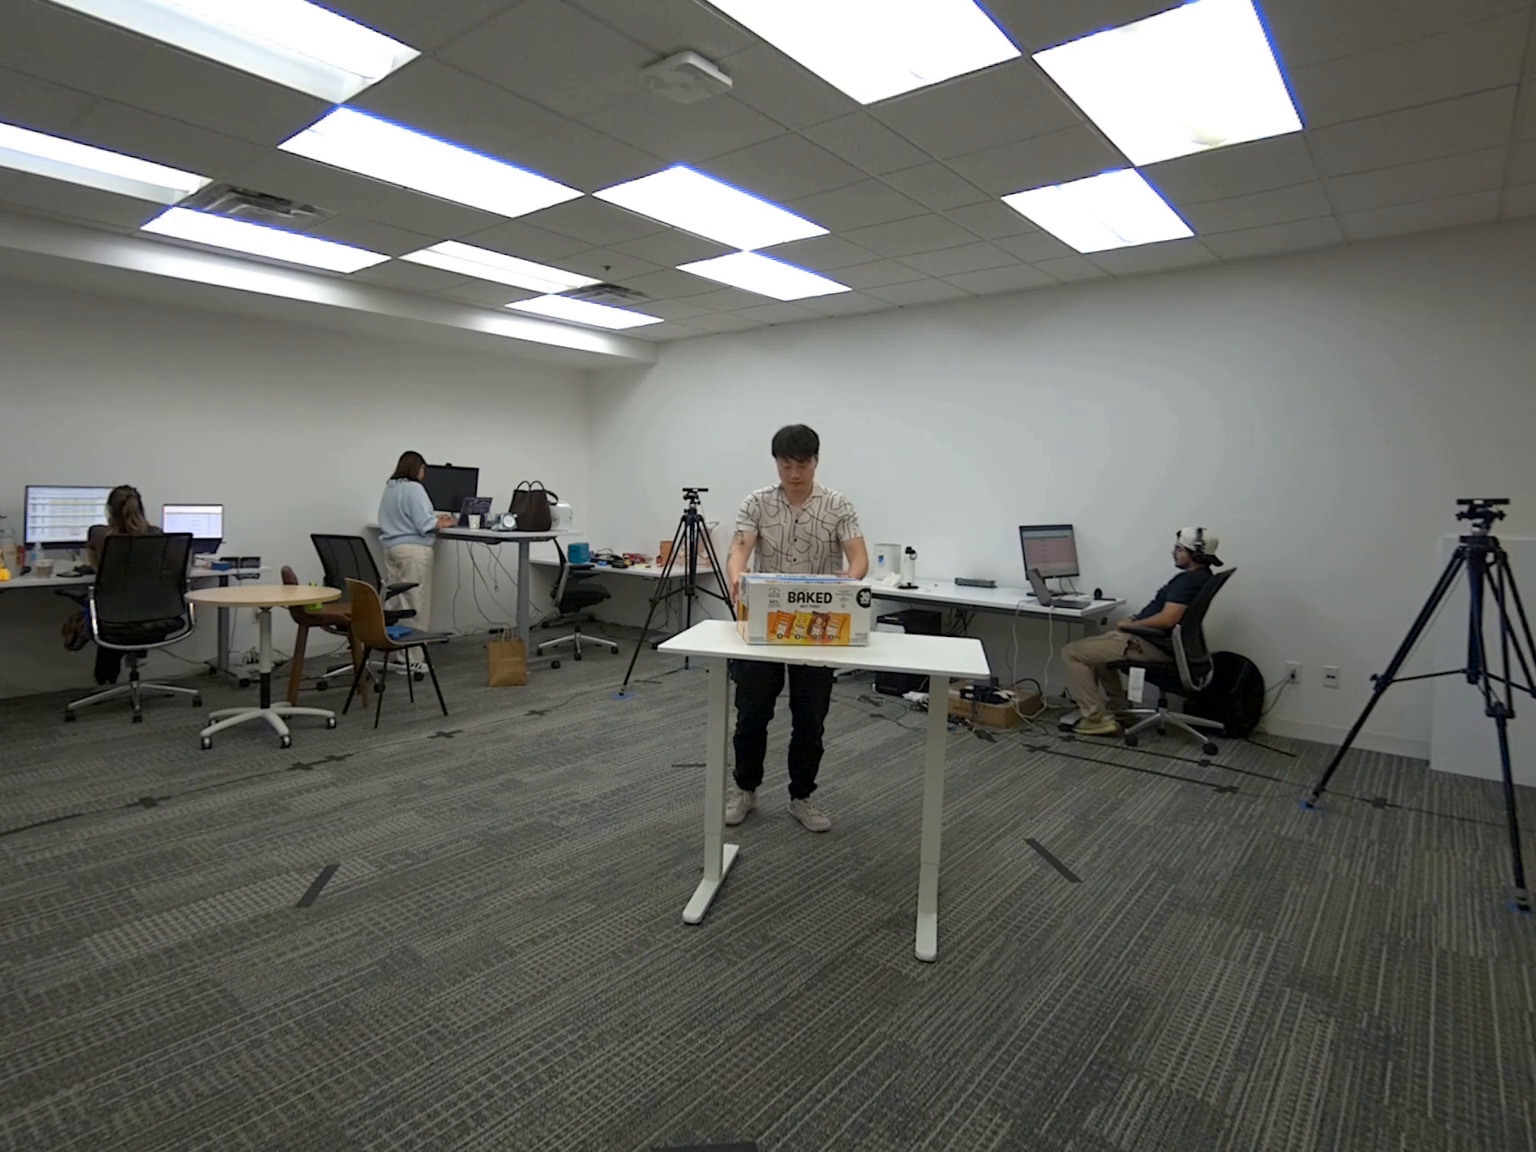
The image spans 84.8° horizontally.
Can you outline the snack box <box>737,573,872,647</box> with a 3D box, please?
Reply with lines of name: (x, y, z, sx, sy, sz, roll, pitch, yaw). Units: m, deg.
snack box: (0.103, 0.106, 2.939, 0.402, 0.205, 0.344, 2, 5, -7)
